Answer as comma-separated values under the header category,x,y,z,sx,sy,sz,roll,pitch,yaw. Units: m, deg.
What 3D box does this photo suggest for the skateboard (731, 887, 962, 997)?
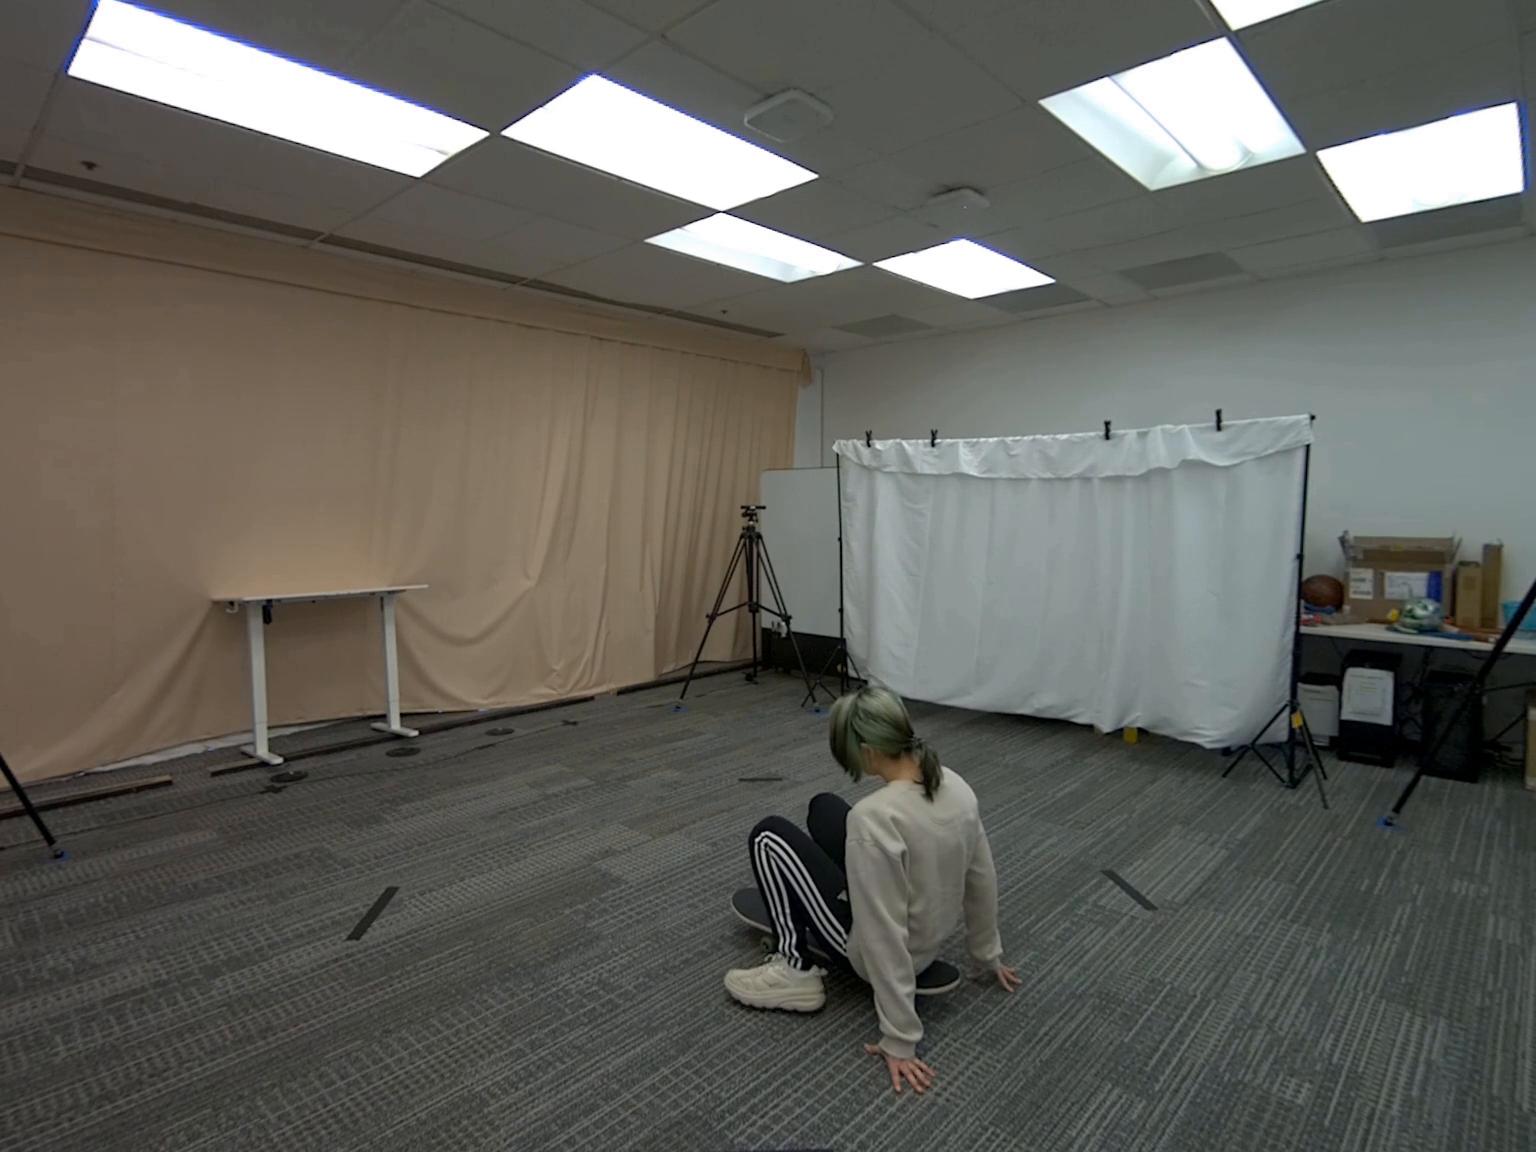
category,x,y,z,sx,sy,sz,roll,pitch,yaw
skateboard,0.209,1.132,2.536,0.812,0.110,0.187,4,6,40
